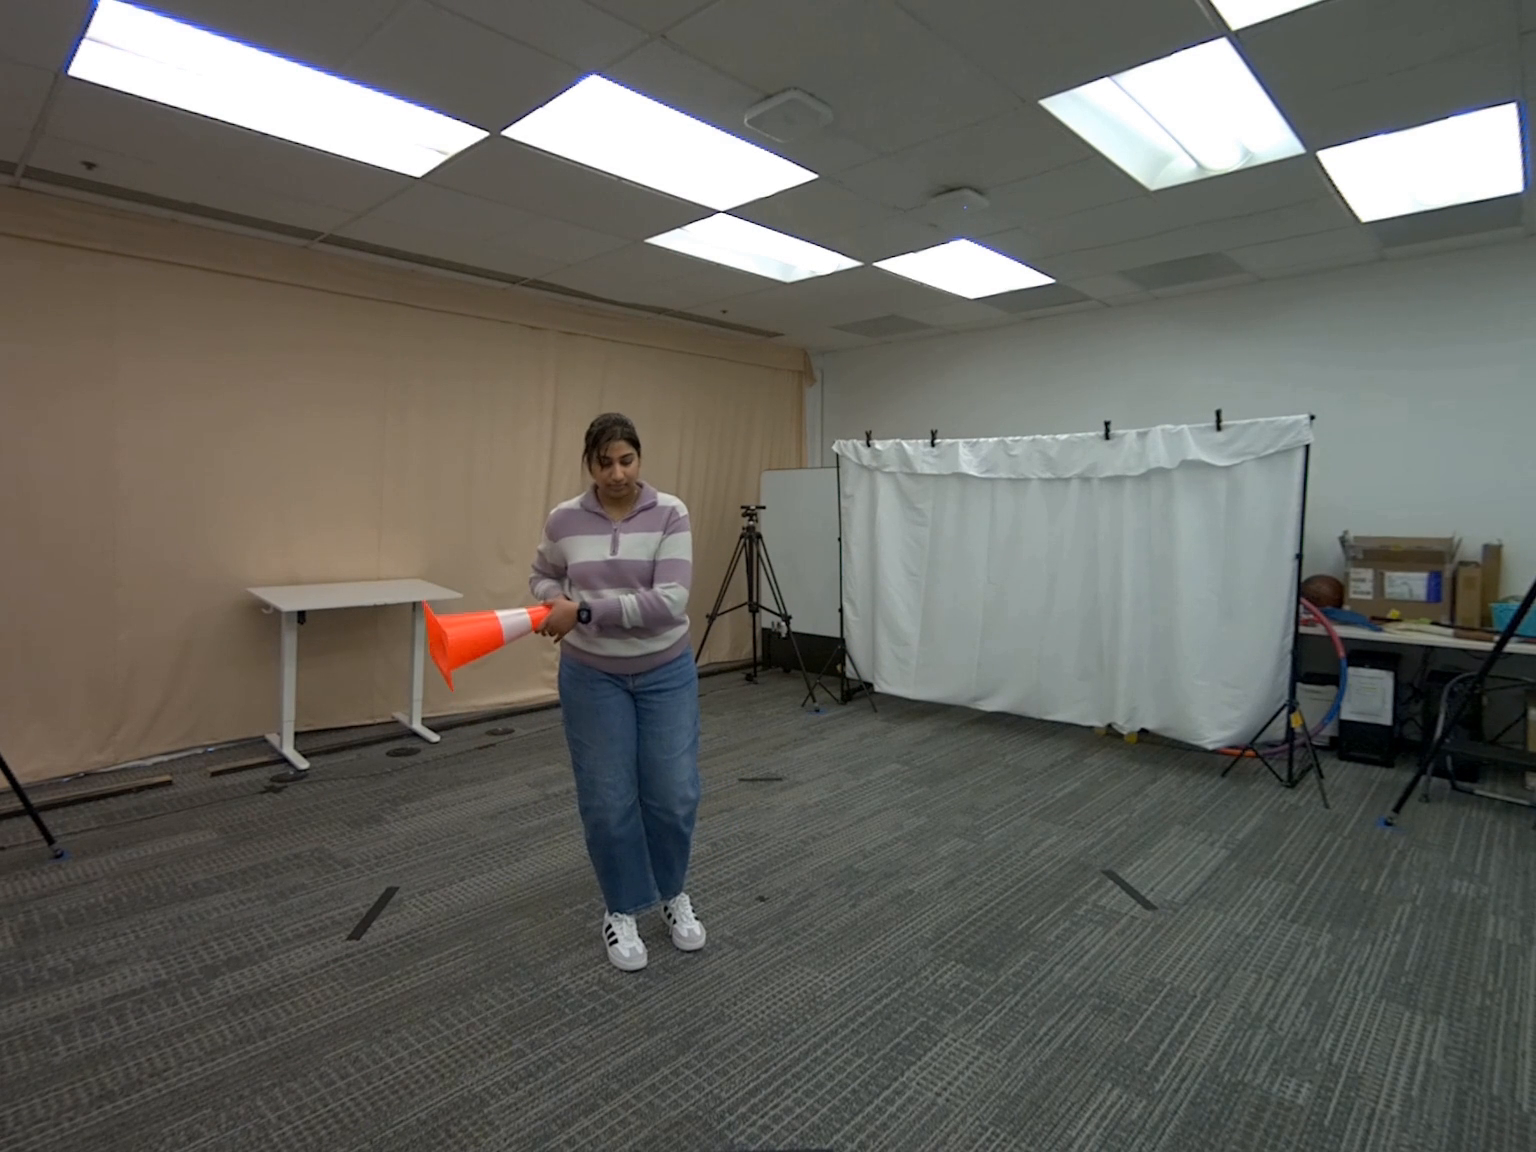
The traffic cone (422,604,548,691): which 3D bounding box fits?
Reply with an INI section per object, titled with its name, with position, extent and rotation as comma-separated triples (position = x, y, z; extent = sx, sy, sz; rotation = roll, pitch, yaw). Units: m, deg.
[traffic cone]
position = -0.735, 0.147, 2.349
extent = 0.375, 0.200, 0.212
rotation = -17, 36, -31
